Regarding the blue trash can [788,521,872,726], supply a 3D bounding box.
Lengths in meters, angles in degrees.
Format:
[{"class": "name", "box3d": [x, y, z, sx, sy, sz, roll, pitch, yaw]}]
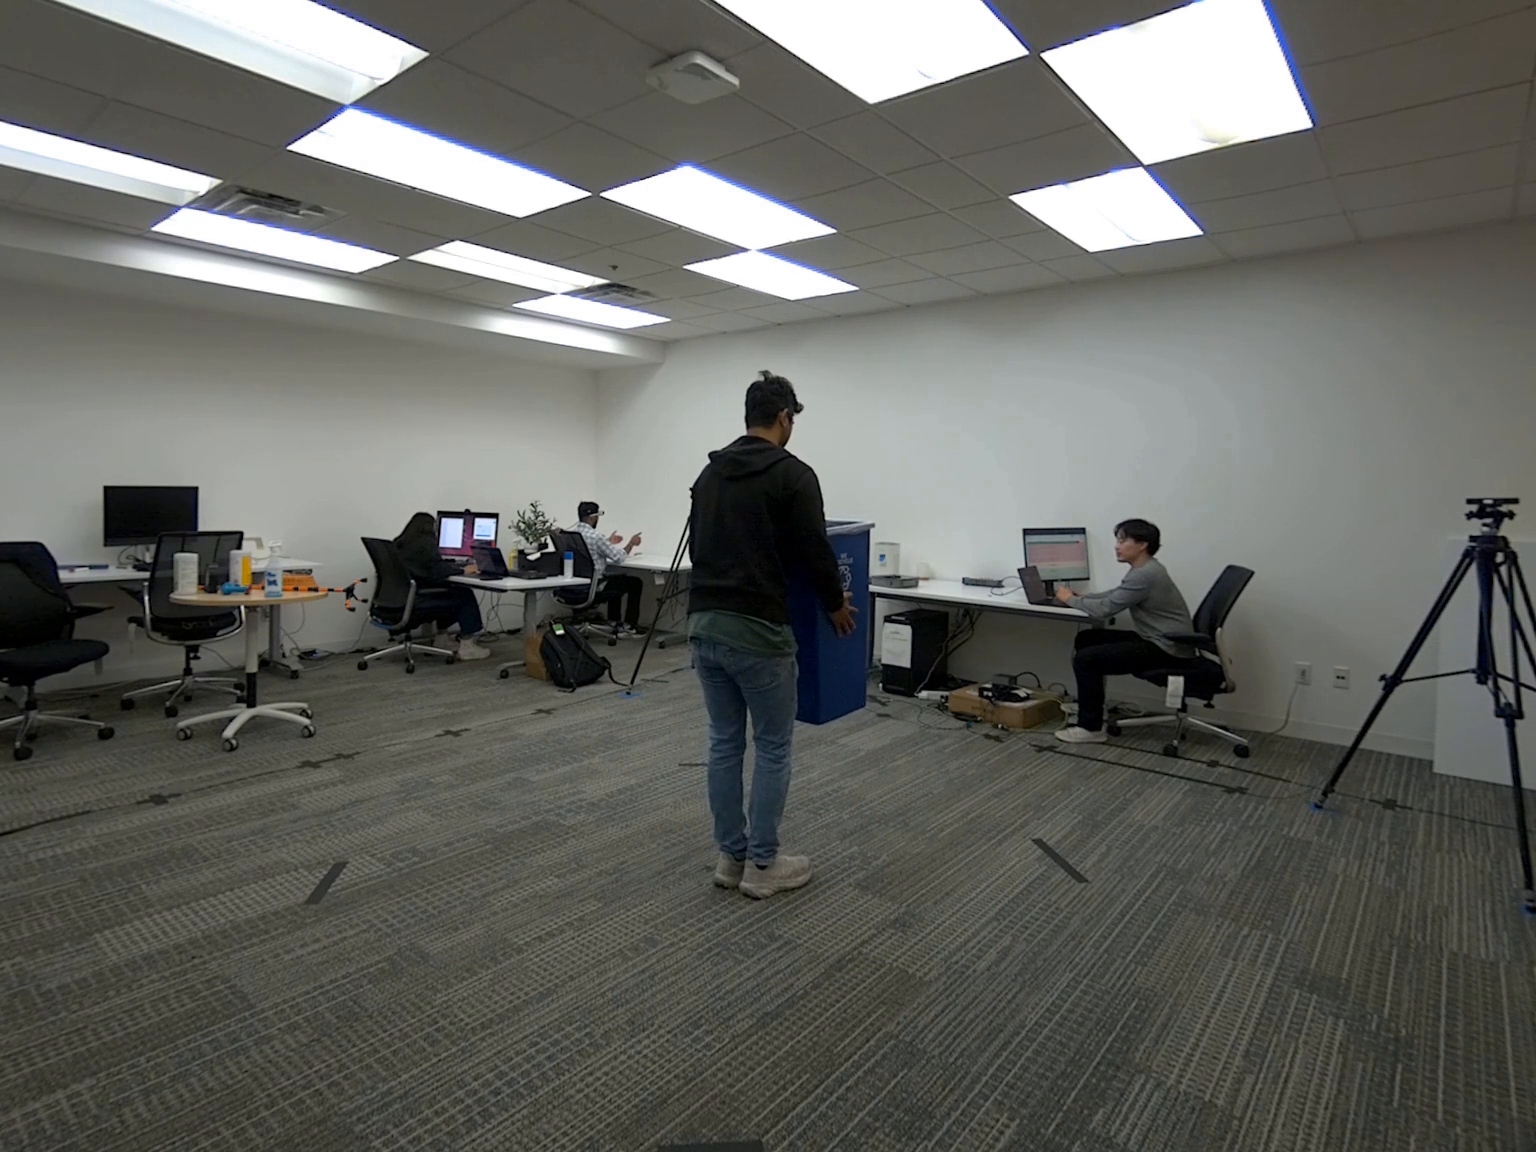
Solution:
[{"class": "blue trash can", "box3d": [0.161, 0.159, 3.234, 0.391, 0.709, 0.364, 5, 9, 42]}]
